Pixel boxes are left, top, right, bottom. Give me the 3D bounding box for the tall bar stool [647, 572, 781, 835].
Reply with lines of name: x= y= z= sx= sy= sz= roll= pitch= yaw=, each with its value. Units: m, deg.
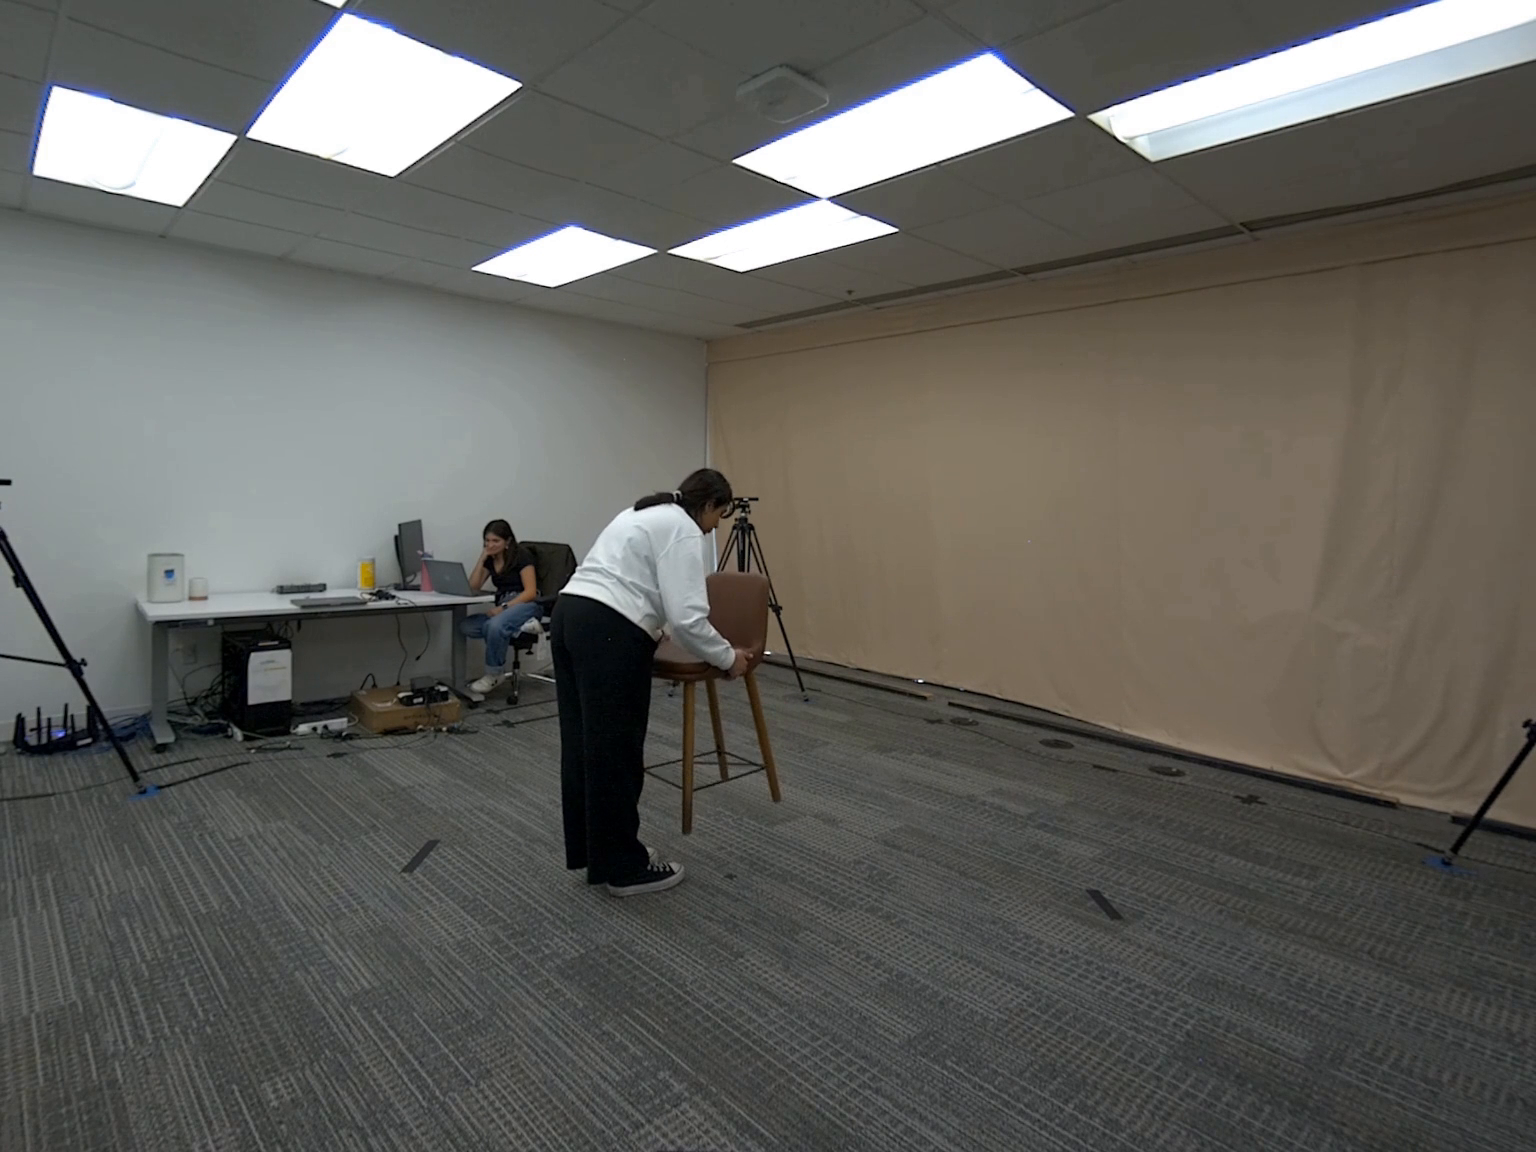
tall bar stool: x=-0.263 y=0.452 z=3.222 sx=0.458 sy=0.887 sz=0.467 roll=-4 pitch=4 yaw=-37
